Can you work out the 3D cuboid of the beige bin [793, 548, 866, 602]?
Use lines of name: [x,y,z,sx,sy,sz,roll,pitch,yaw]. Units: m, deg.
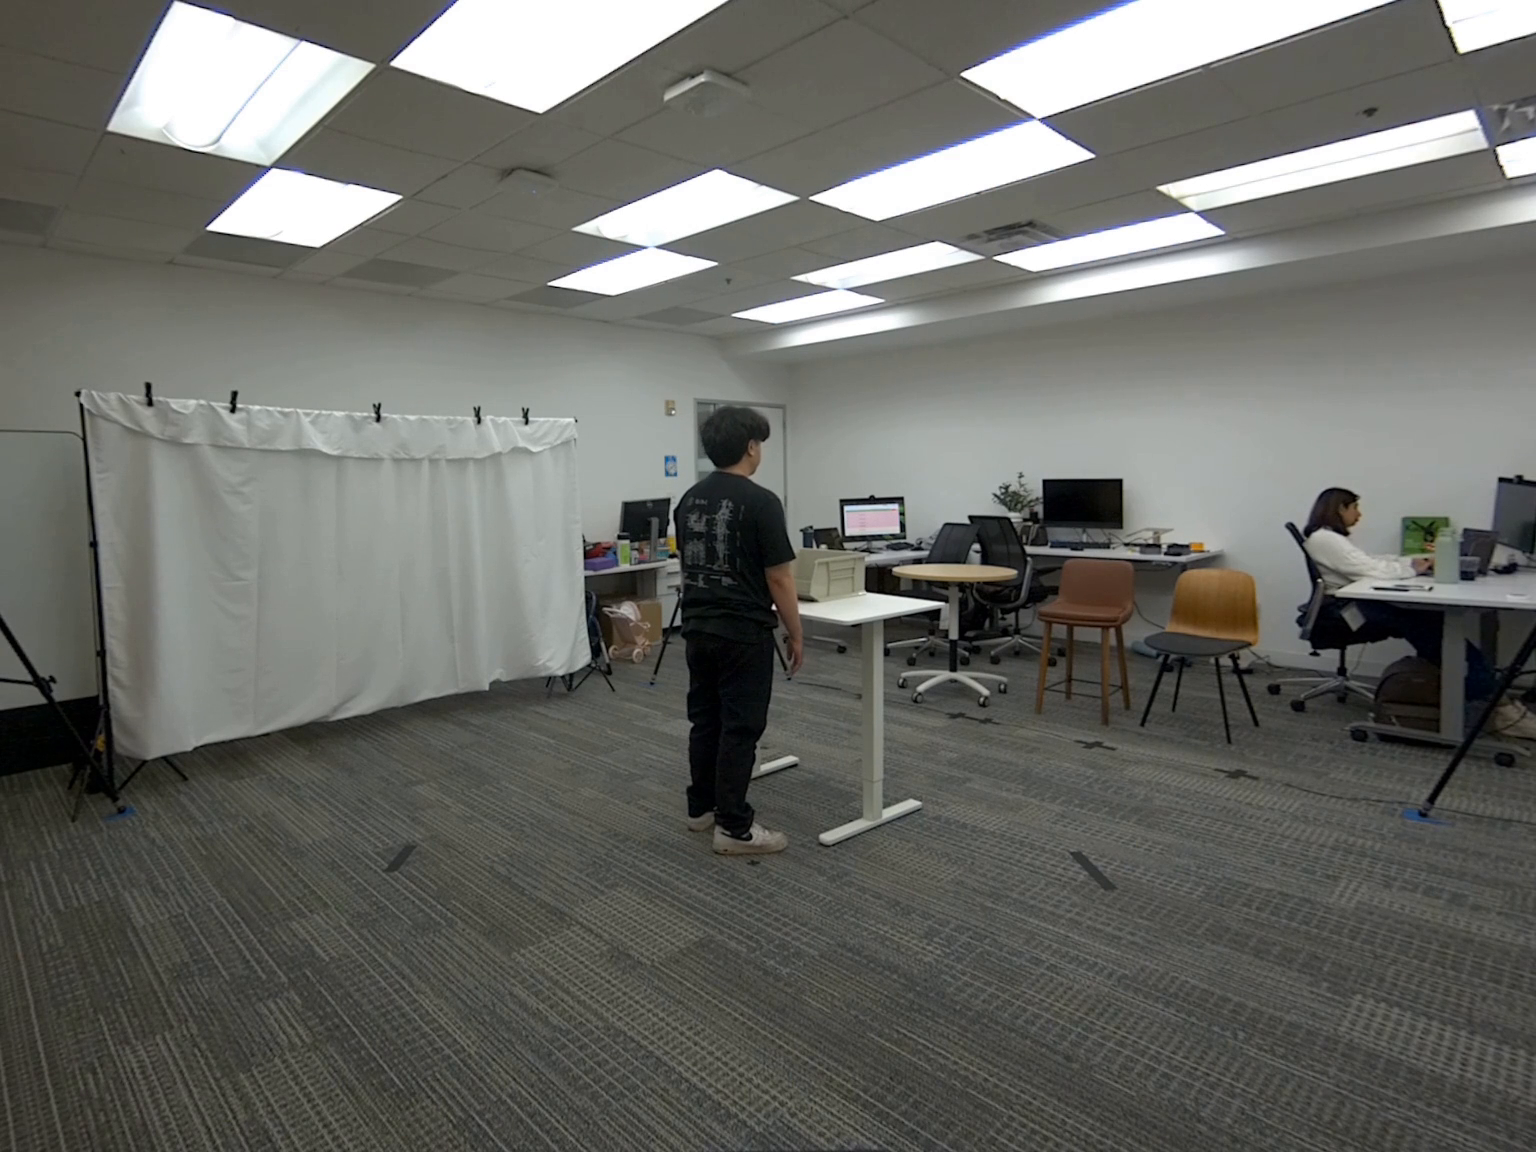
beige bin: [0.164,-0.006,3.747,0.367,0.188,0.435,-6,8,-43]
